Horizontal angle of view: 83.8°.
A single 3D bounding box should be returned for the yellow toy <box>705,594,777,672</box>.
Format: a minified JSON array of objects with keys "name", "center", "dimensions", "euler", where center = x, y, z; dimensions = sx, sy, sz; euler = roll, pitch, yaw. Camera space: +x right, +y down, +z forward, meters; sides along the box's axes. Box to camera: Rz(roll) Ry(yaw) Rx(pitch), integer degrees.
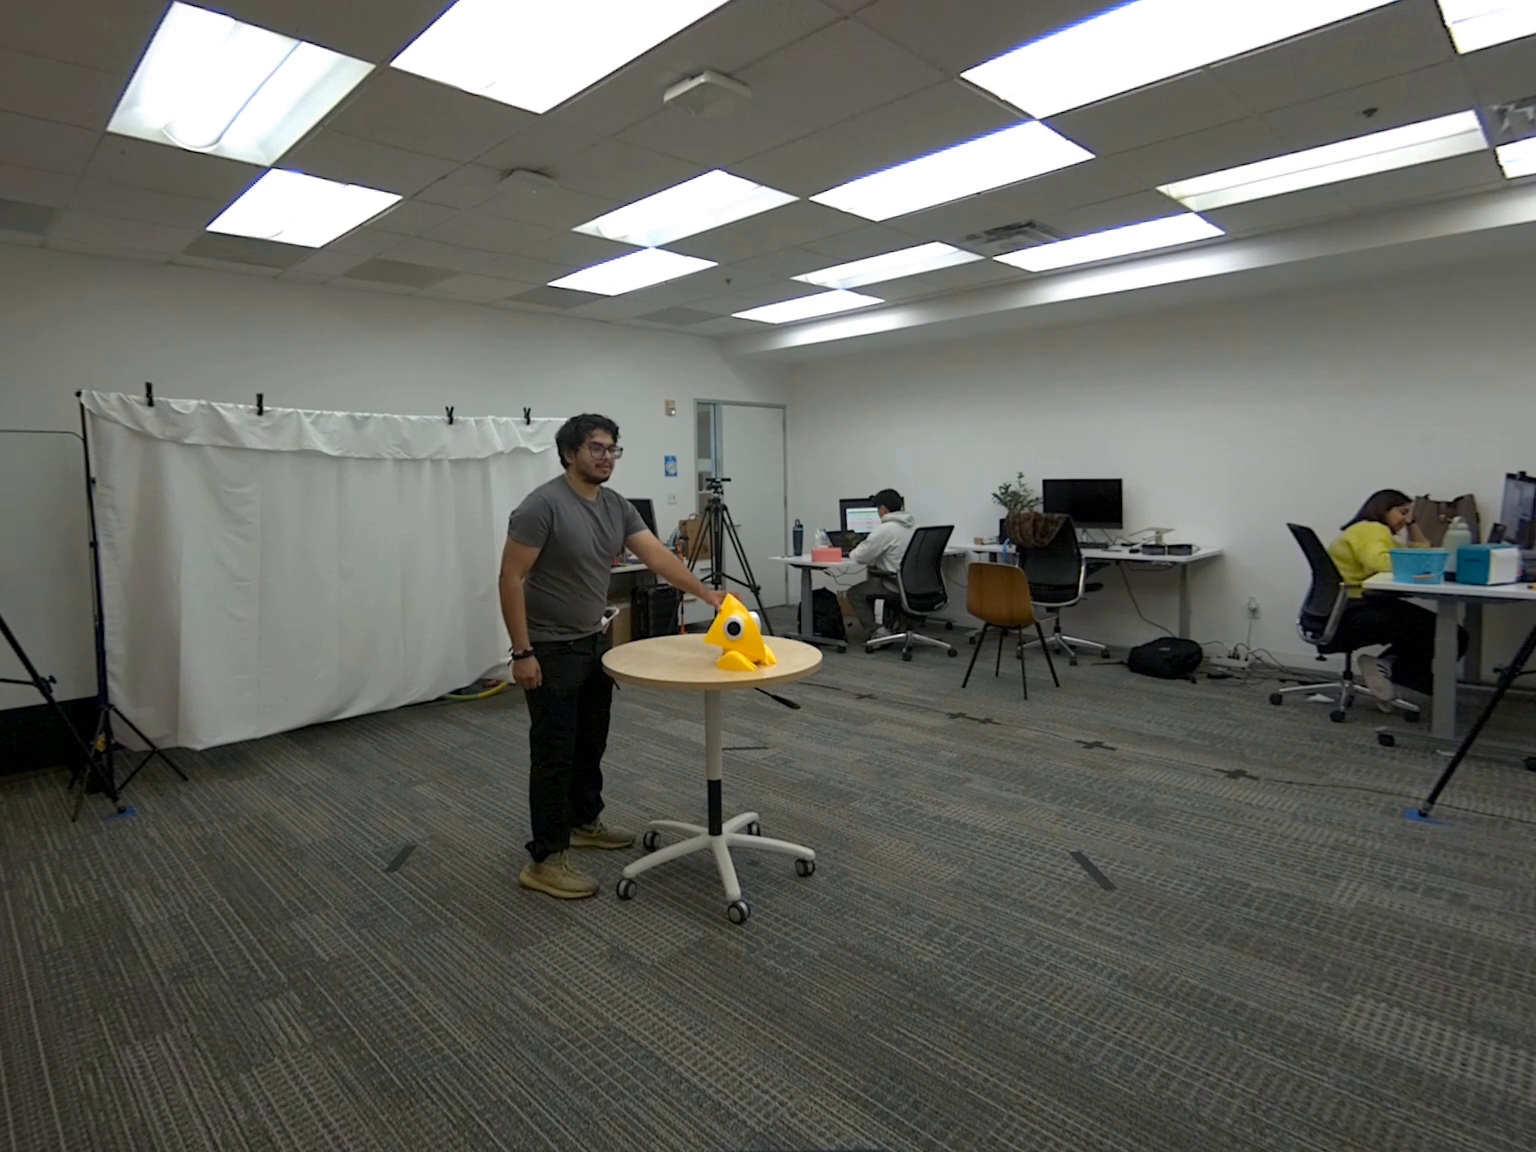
[{"name":"yellow toy","center":[-0.087,0.176,2.840],"dimensions":[0.199,0.229,0.200],"euler":[4,7,38]}]
